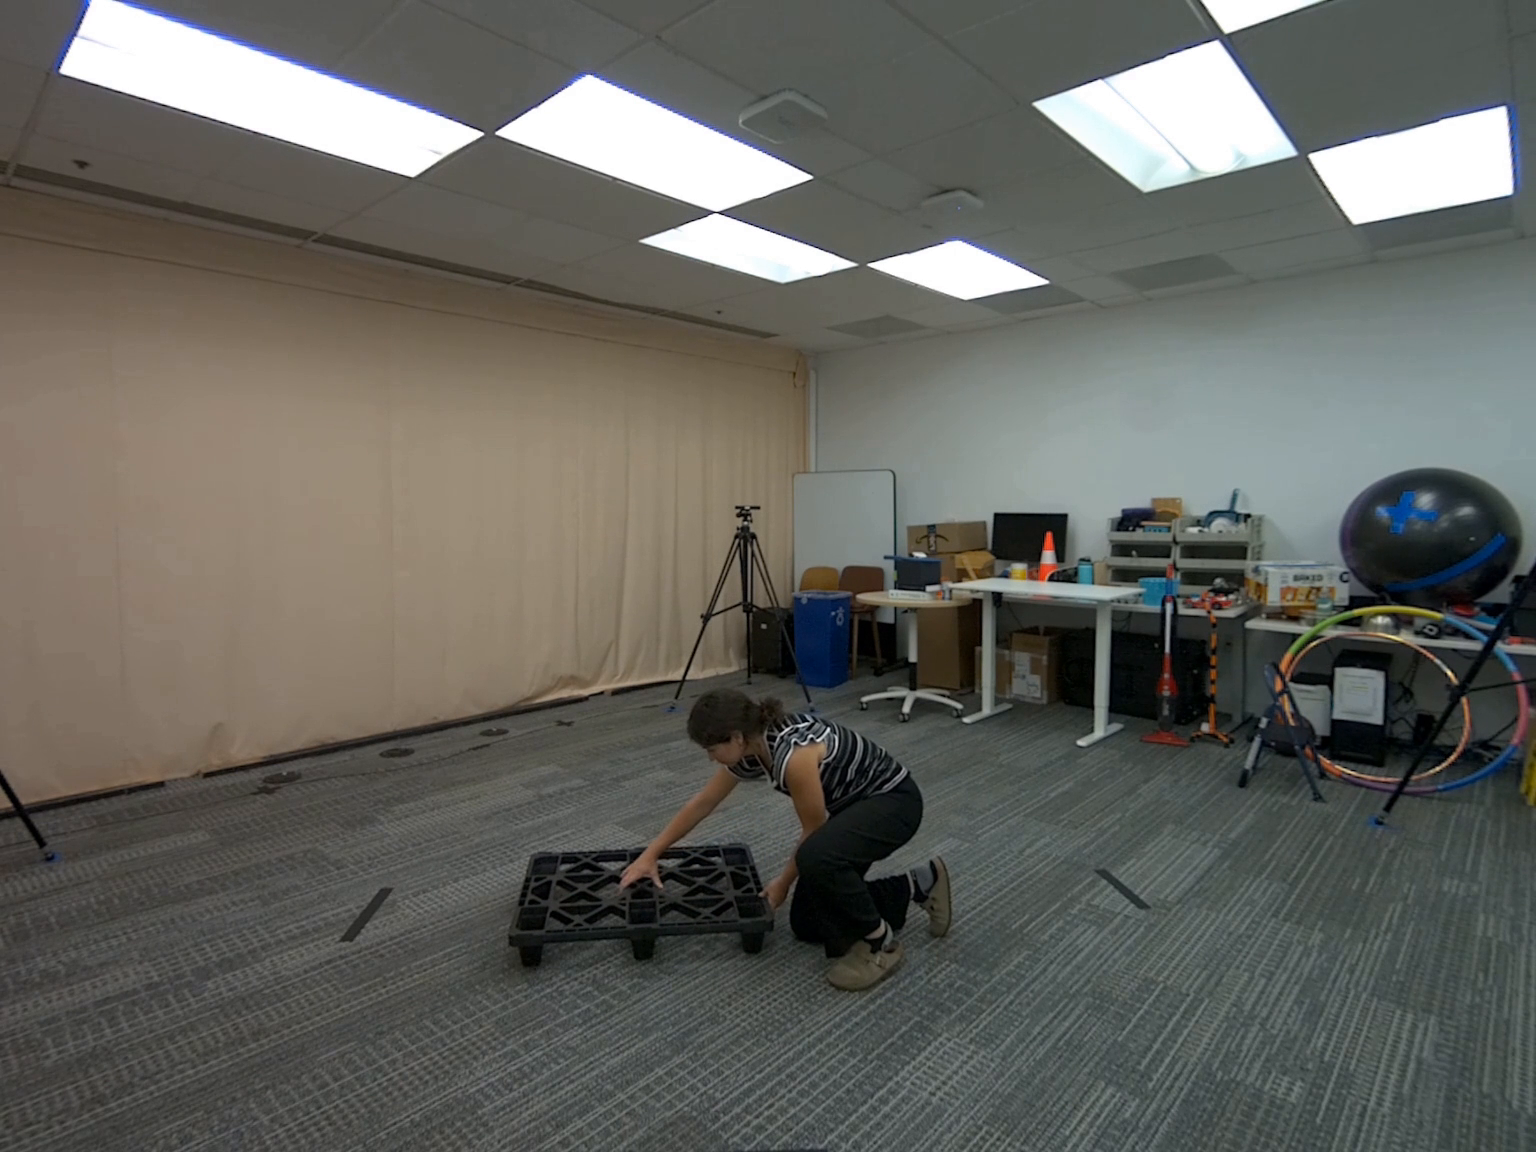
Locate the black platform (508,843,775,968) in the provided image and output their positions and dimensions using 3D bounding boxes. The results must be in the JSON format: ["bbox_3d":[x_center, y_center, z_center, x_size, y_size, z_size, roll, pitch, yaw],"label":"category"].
[{"bbox_3d":[-0.420,1.092,2.816,0.800,0.143,0.610,0,4,-7],"label":"black platform"}]
